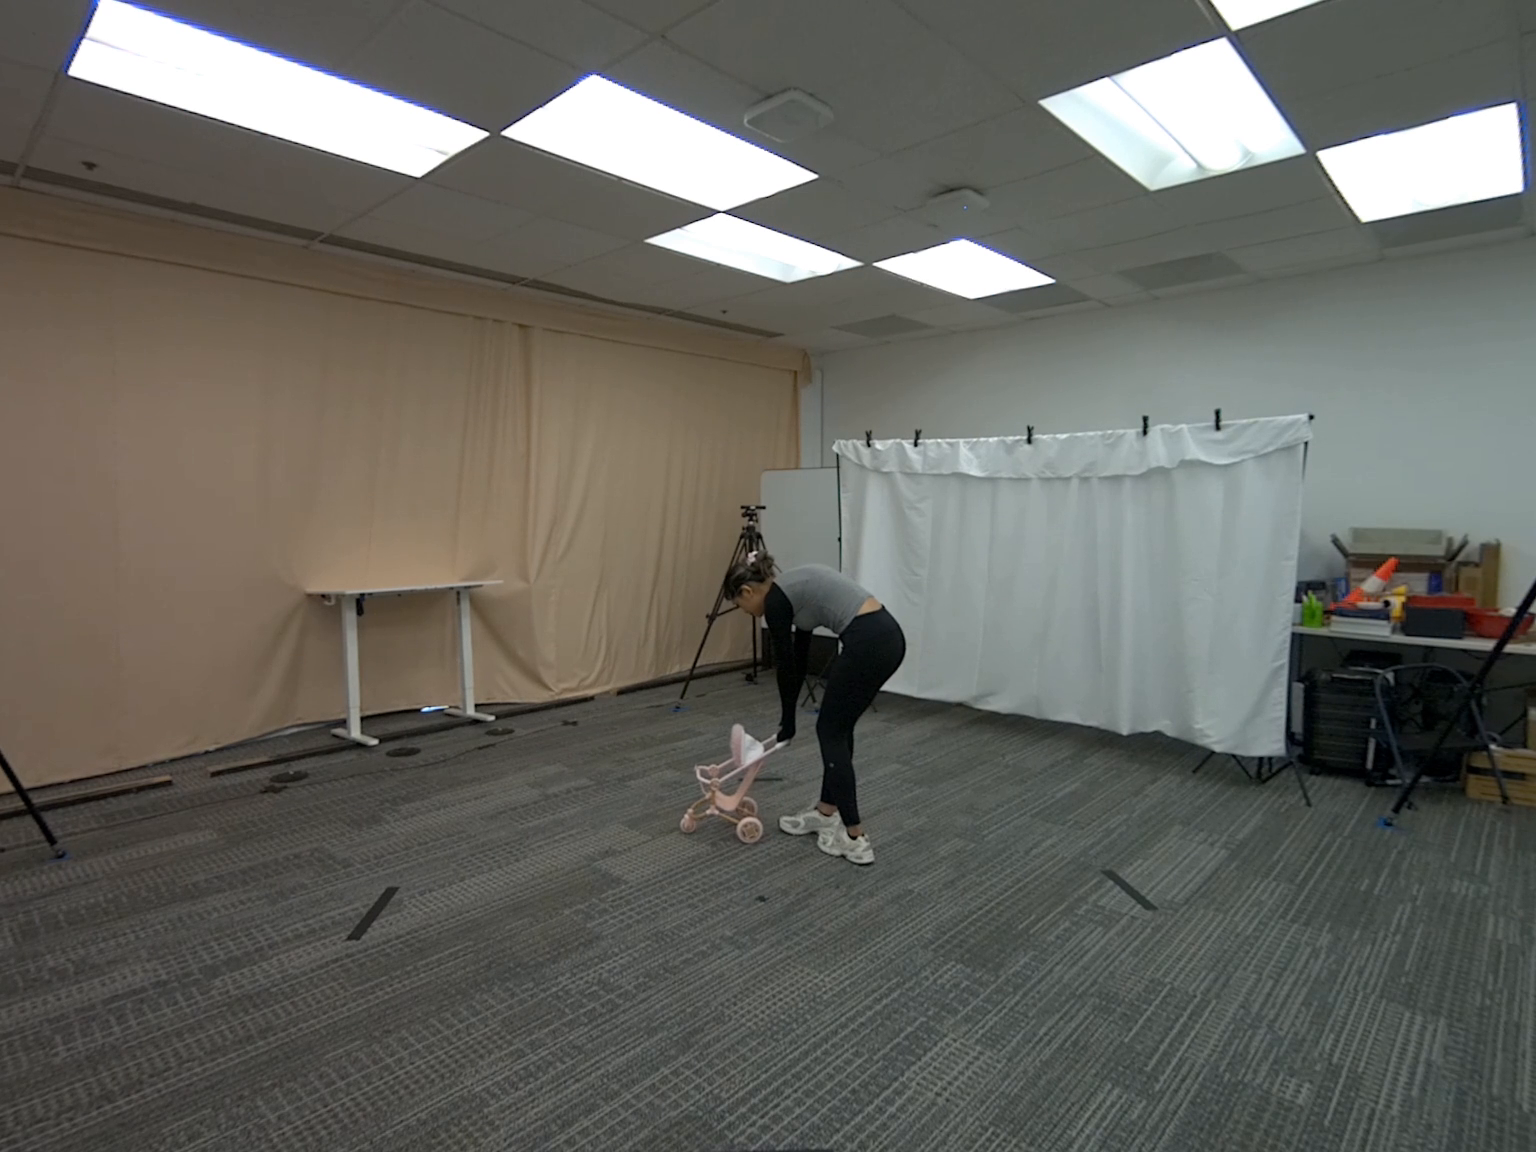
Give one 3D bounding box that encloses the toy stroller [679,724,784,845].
[{"bbox_3d":[-0.149,0.874,3.589,0.342,0.534,0.281,17,2,0],"label":"toy stroller"}]
